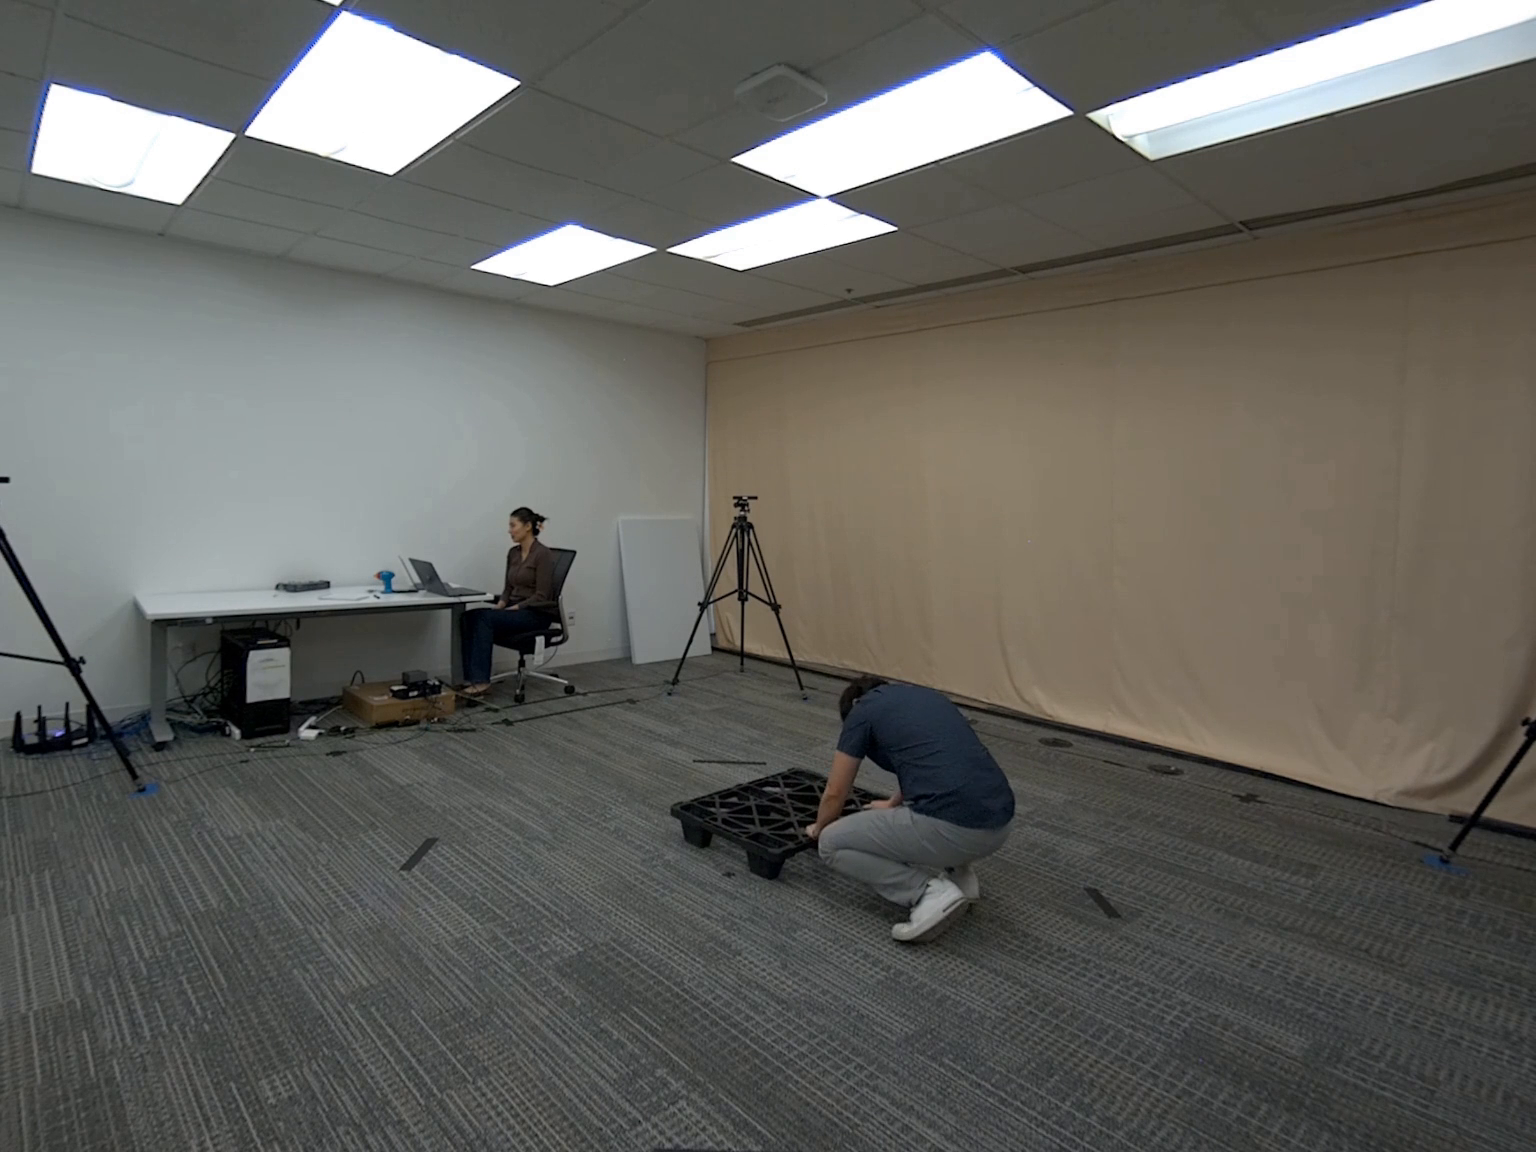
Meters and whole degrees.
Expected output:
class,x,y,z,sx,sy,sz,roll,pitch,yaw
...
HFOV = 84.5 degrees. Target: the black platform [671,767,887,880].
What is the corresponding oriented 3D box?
class,x,y,z,sx,sy,sz,roll,pitch,yaw
black platform,0.069,1.006,3.485,0.621,0.143,0.787,6,6,44
